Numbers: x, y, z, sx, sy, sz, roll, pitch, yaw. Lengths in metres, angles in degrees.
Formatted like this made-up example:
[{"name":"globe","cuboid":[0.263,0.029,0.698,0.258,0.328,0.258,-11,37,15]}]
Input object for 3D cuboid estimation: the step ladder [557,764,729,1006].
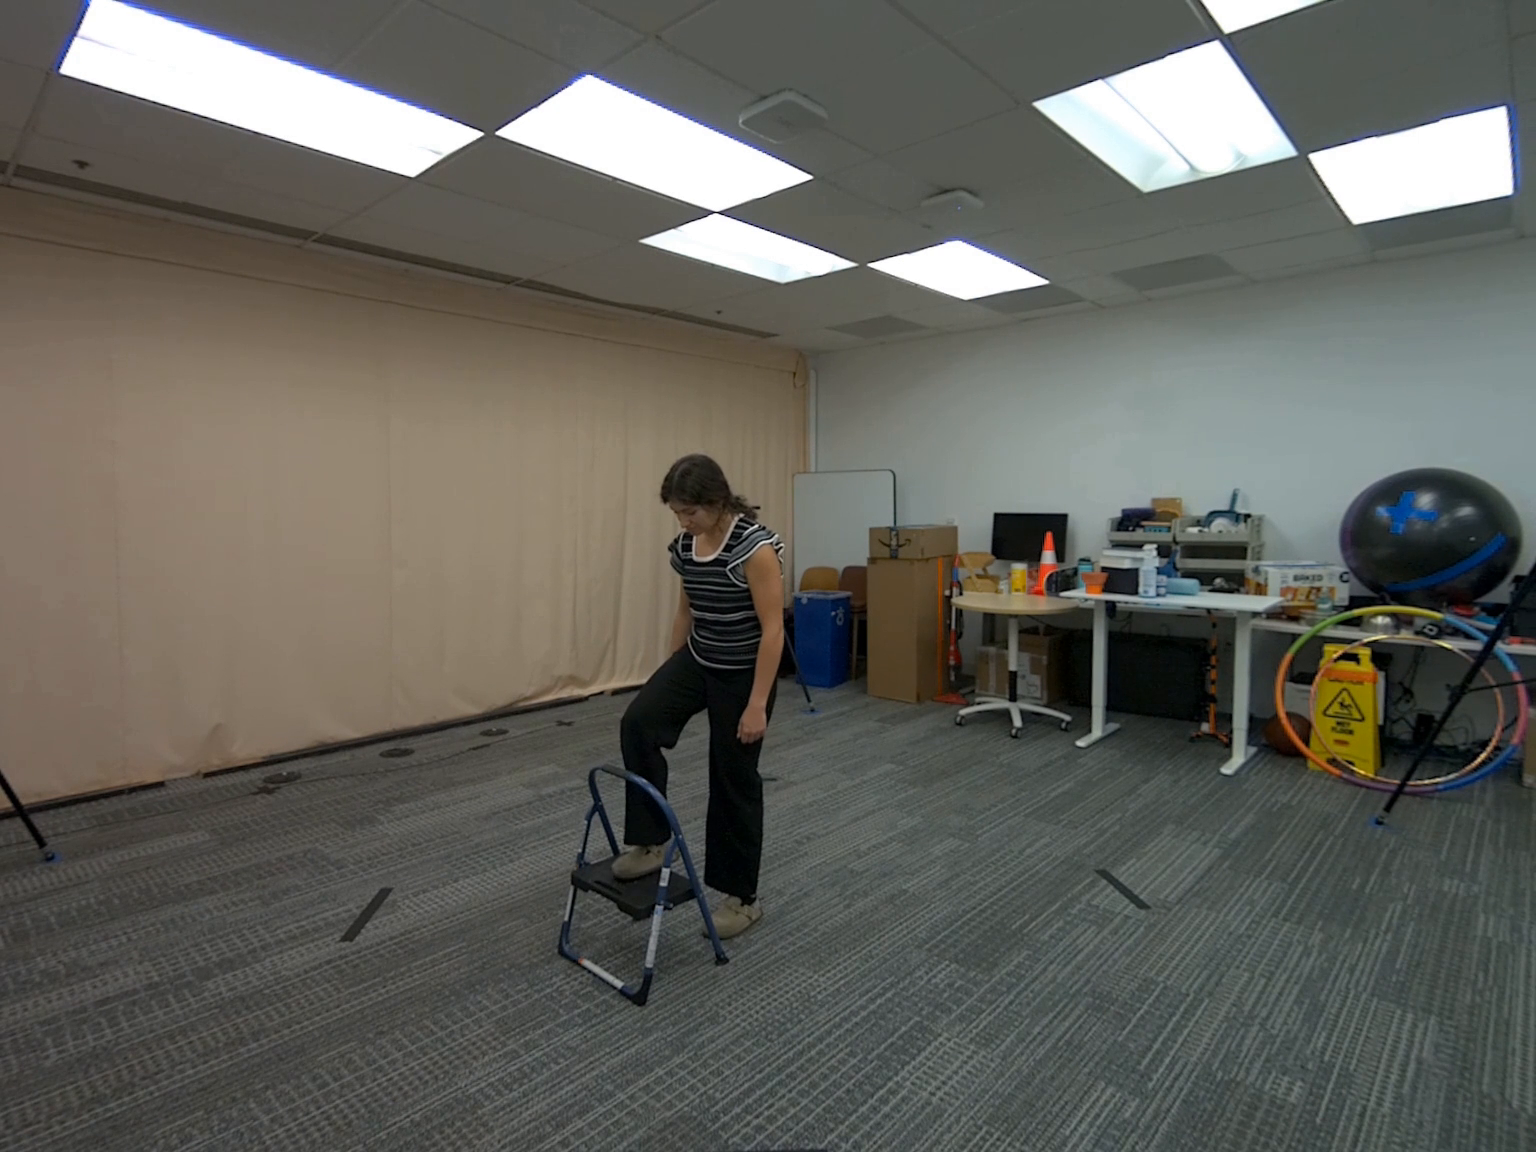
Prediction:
[{"name":"step ladder","cuboid":[-0.394,0.879,2.587,0.445,0.605,0.338,2,4,42]}]
